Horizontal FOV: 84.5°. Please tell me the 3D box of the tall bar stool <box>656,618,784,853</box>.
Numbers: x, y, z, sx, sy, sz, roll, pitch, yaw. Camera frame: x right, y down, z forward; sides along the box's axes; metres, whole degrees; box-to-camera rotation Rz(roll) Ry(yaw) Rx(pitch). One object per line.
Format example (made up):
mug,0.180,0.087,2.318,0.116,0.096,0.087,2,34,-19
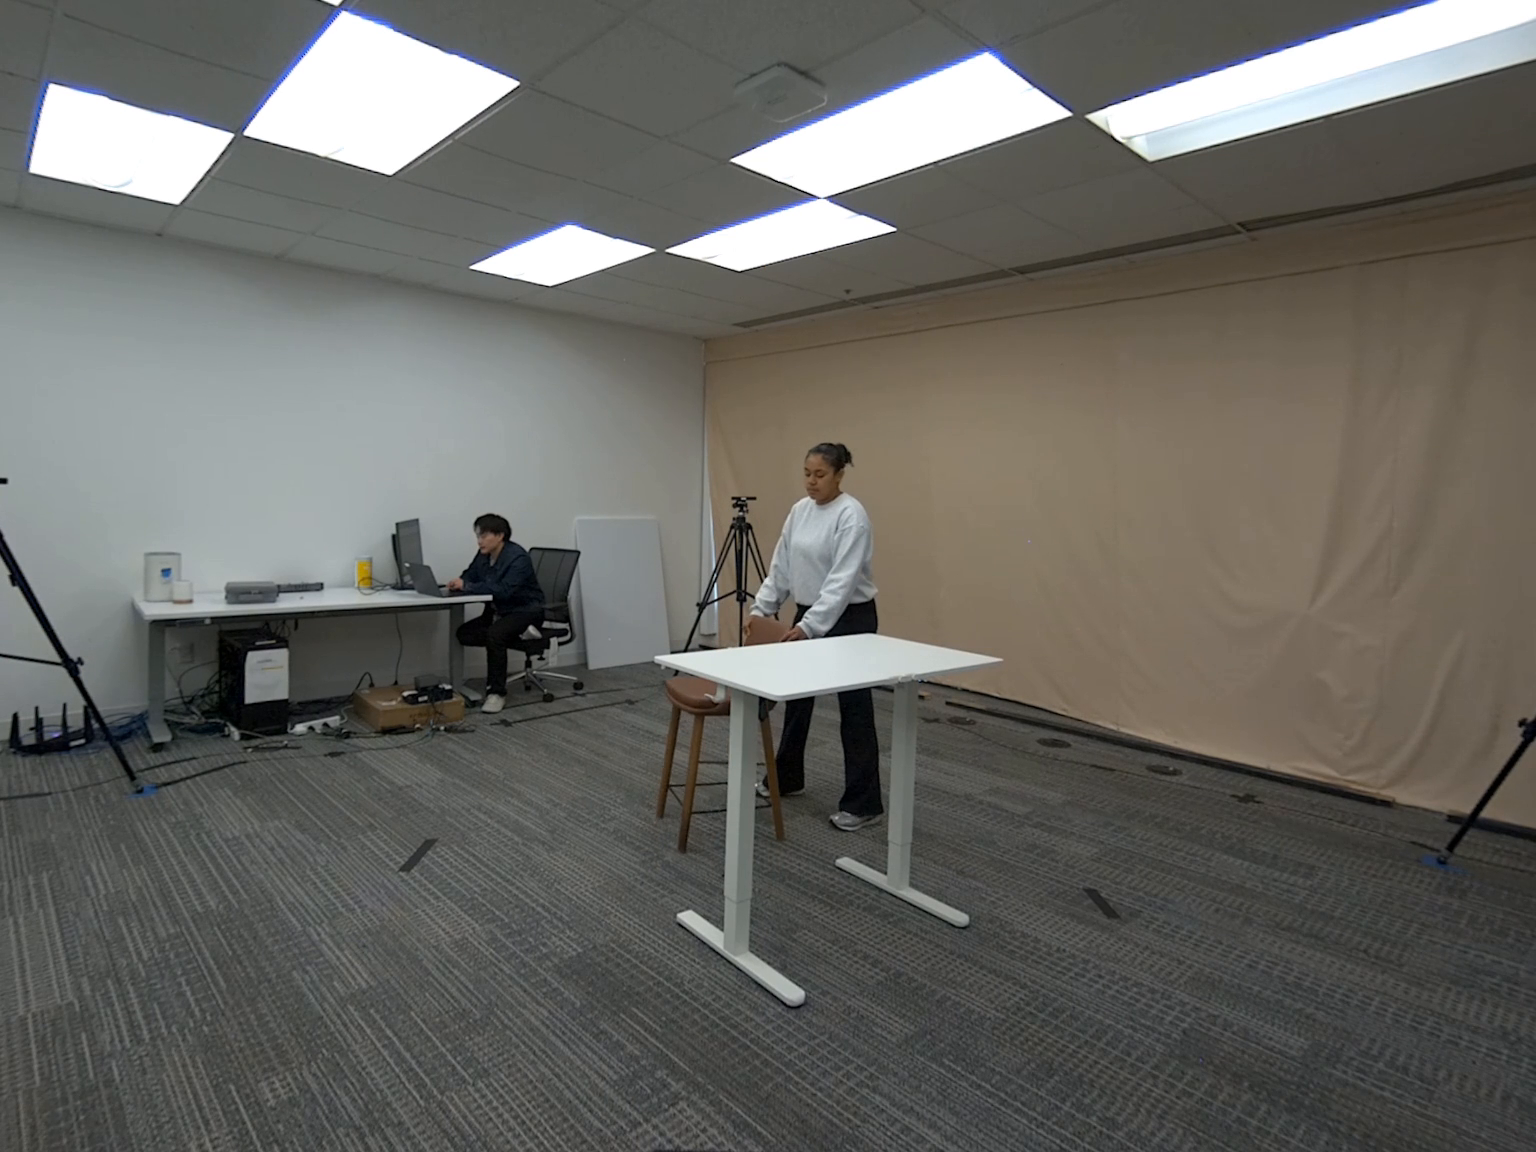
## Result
tall bar stool,-0.190,0.630,3.528,0.460,0.888,0.464,3,2,-20
